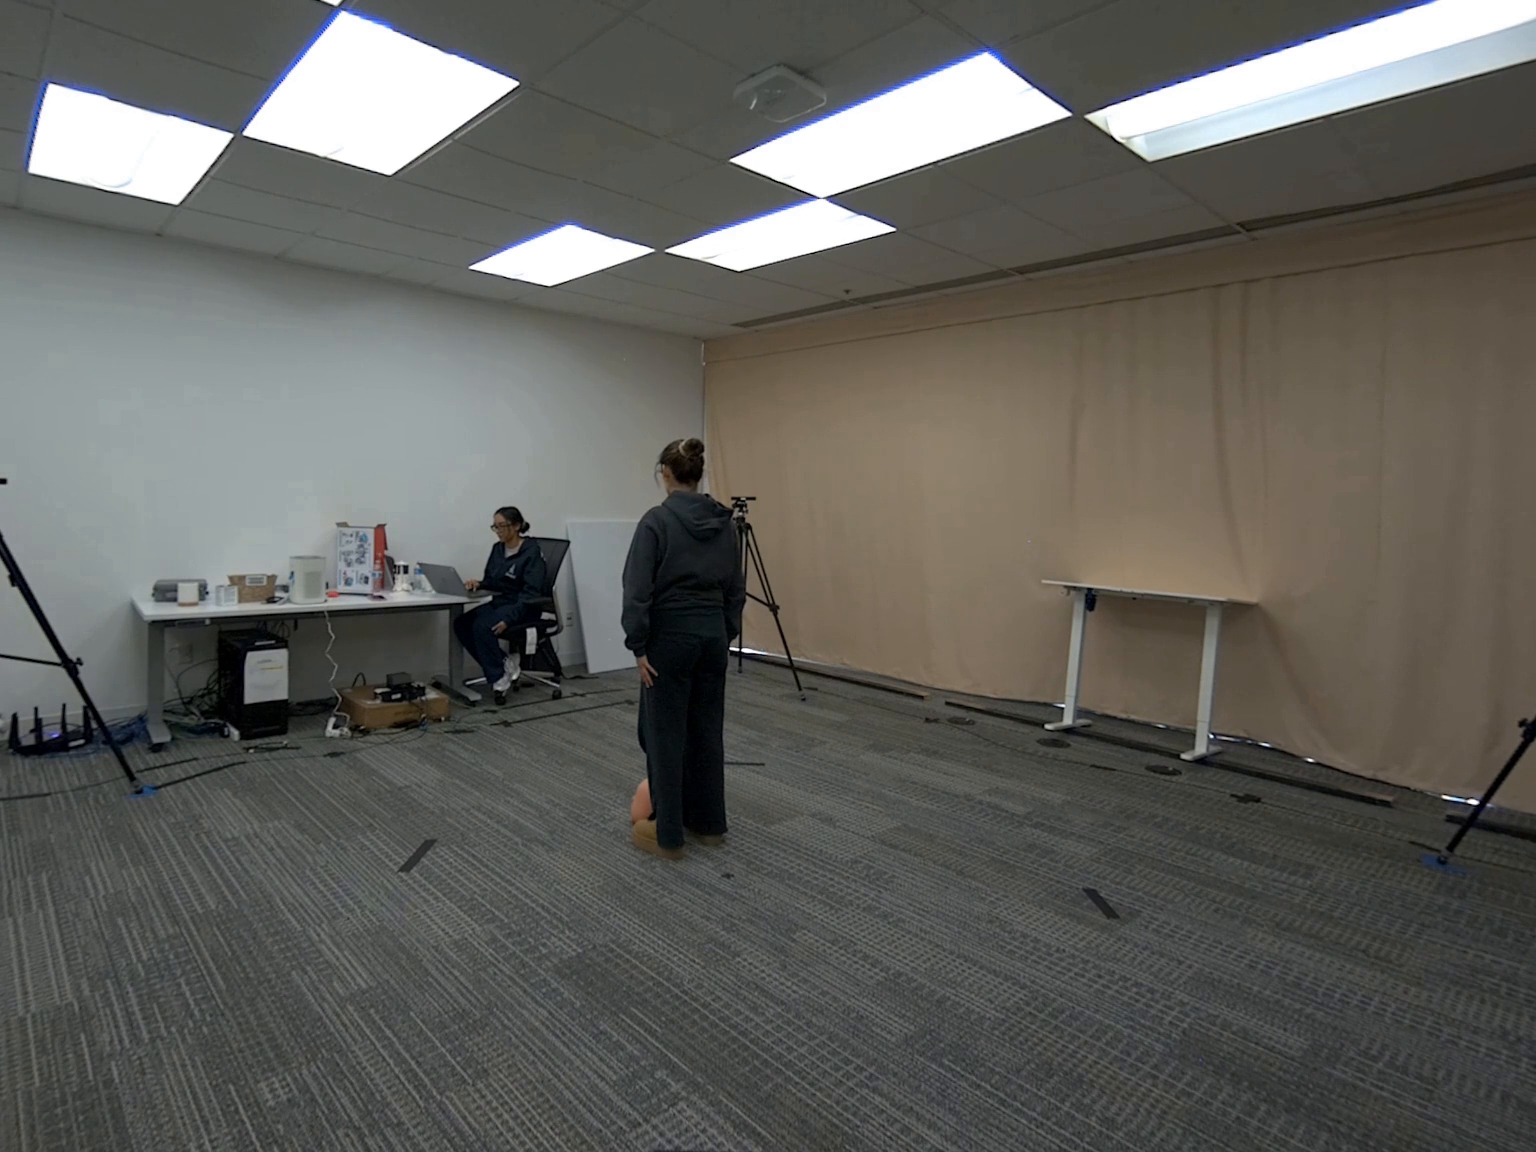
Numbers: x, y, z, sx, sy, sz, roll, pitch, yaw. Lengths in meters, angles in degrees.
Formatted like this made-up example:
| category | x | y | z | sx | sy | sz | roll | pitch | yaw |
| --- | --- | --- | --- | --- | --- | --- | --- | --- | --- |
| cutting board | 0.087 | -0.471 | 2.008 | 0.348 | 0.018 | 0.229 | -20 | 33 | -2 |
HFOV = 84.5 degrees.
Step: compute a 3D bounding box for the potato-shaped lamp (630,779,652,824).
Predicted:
| category | x | y | z | sx | sy | sz | roll | pitch | yaw |
| --- | --- | --- | --- | --- | --- | --- | --- | --- | --- |
| potato-shaped lamp | -0.504 | 0.952 | 3.583 | 0.161 | 0.197 | 0.176 | -4 | 10 | -45 |
